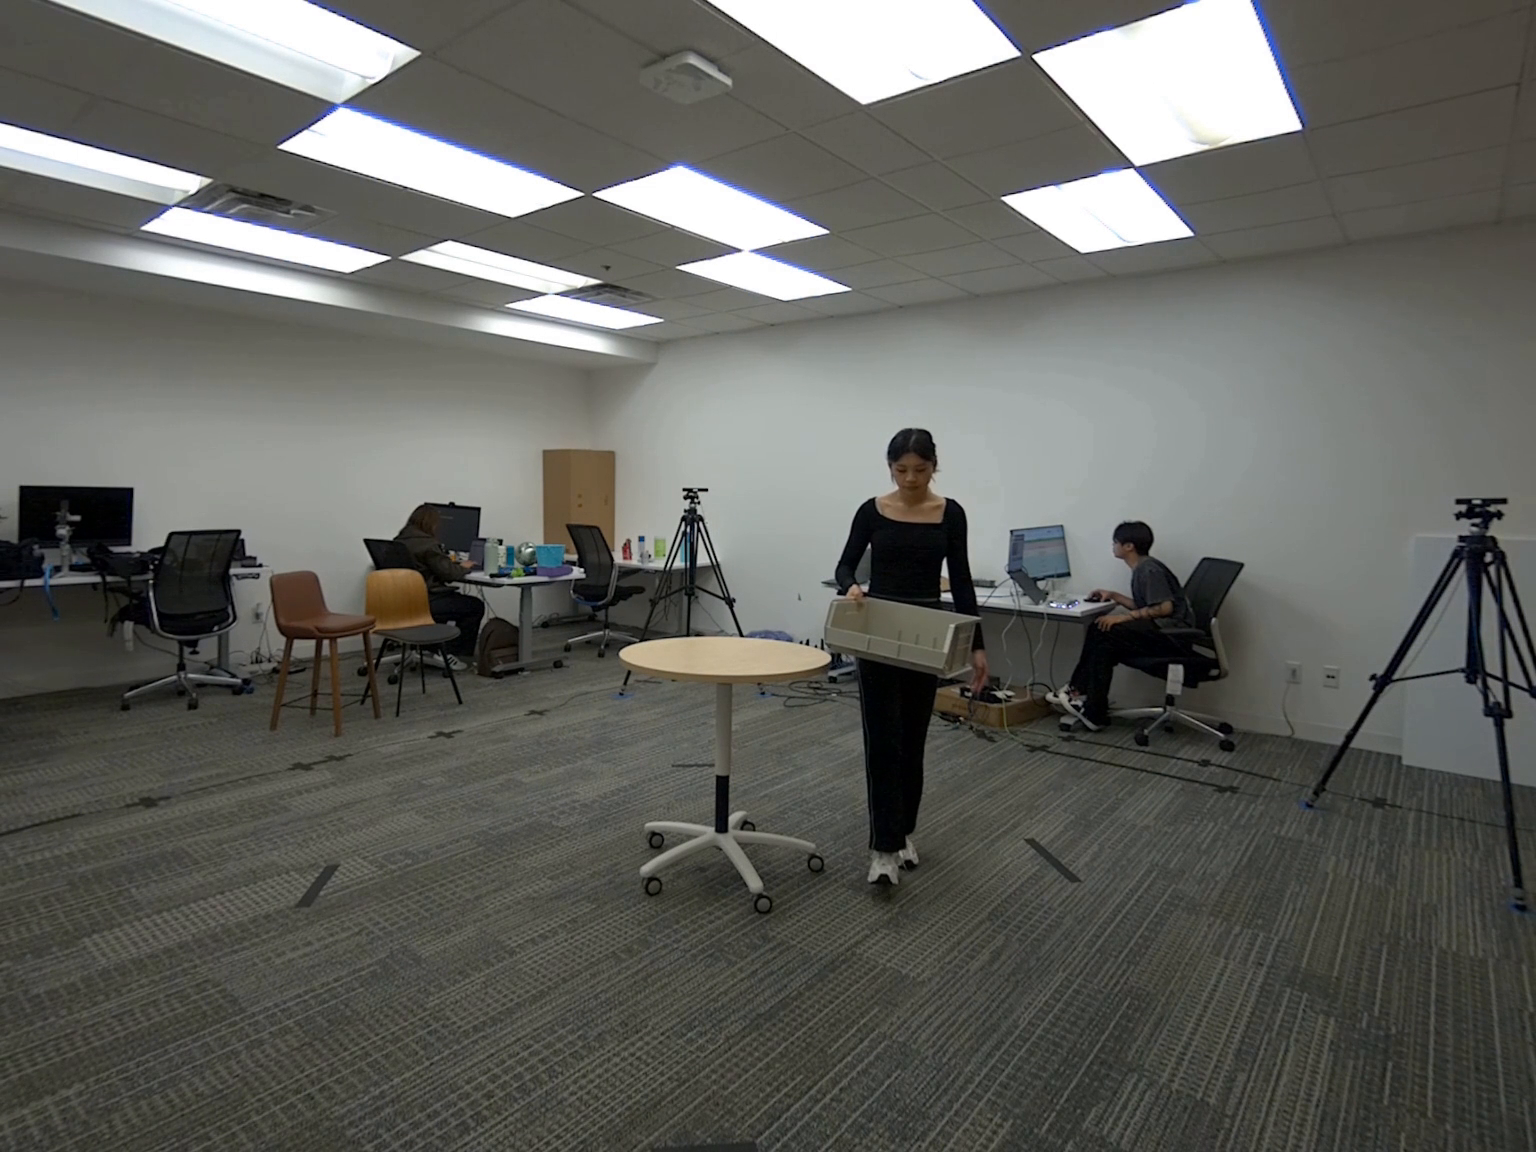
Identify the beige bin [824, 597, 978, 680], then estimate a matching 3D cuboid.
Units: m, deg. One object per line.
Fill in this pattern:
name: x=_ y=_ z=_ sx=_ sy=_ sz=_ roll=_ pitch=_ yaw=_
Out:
beige bin: x=0.449 y=0.196 z=2.874 sx=0.435 sy=0.189 sz=0.367 roll=9 pitch=3 yaw=27
